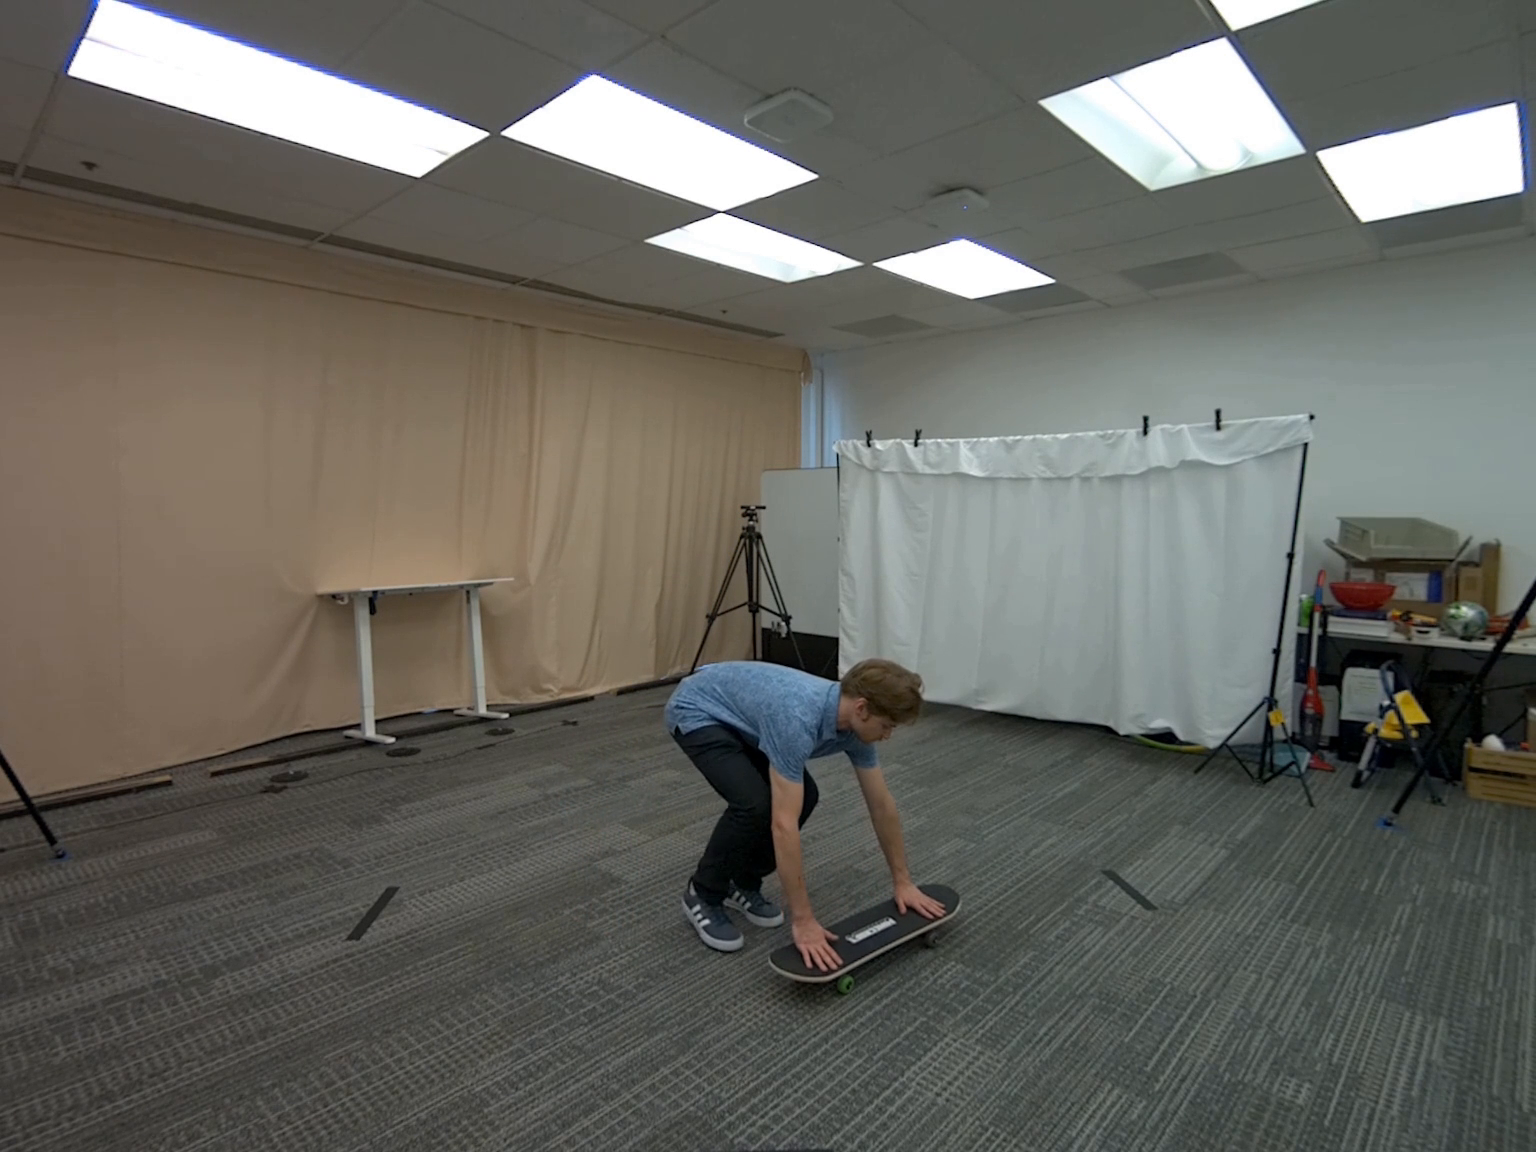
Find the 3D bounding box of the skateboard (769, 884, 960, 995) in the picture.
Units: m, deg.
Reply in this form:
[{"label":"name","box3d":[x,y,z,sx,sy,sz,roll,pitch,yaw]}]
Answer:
[{"label":"skateboard","box3d":[0.321,1.123,2.585,0.762,0.110,0.200,-4,8,-40]}]
